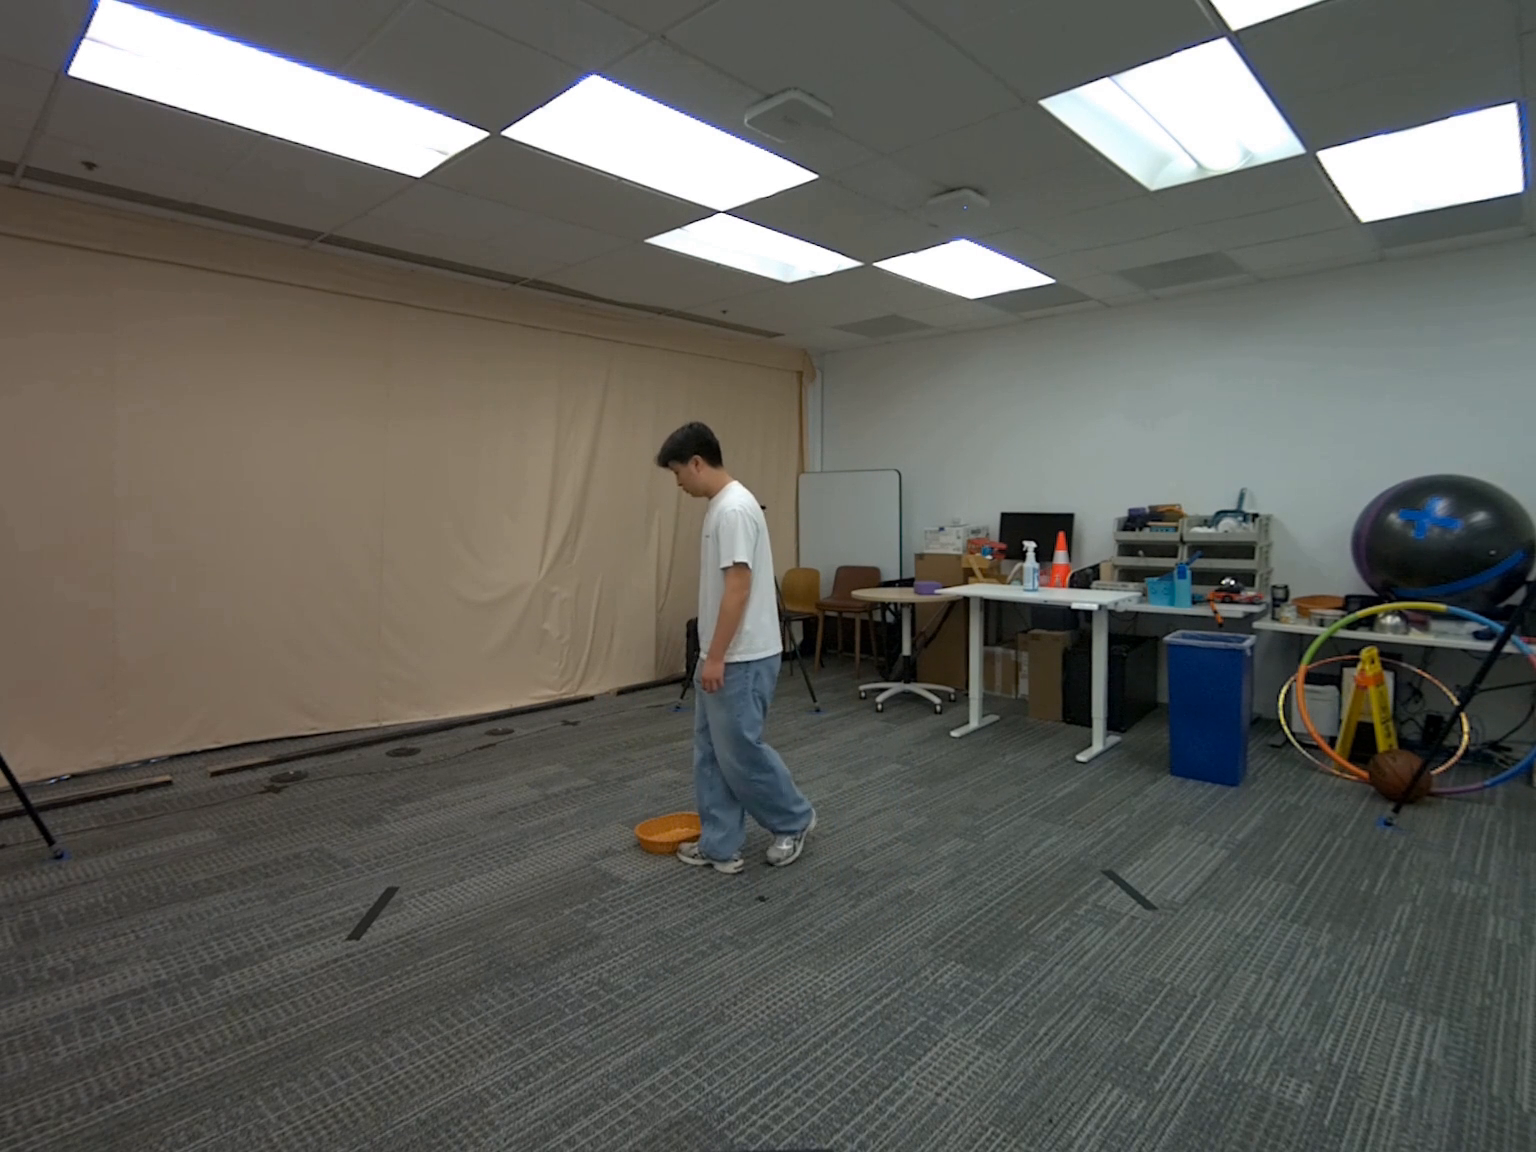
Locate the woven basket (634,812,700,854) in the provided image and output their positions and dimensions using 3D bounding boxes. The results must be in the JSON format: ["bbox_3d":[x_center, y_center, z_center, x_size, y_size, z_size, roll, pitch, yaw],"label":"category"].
[{"bbox_3d":[-0.381,1.067,3.486,0.341,0.073,0.260,-4,6,-31],"label":"woven basket"}]
